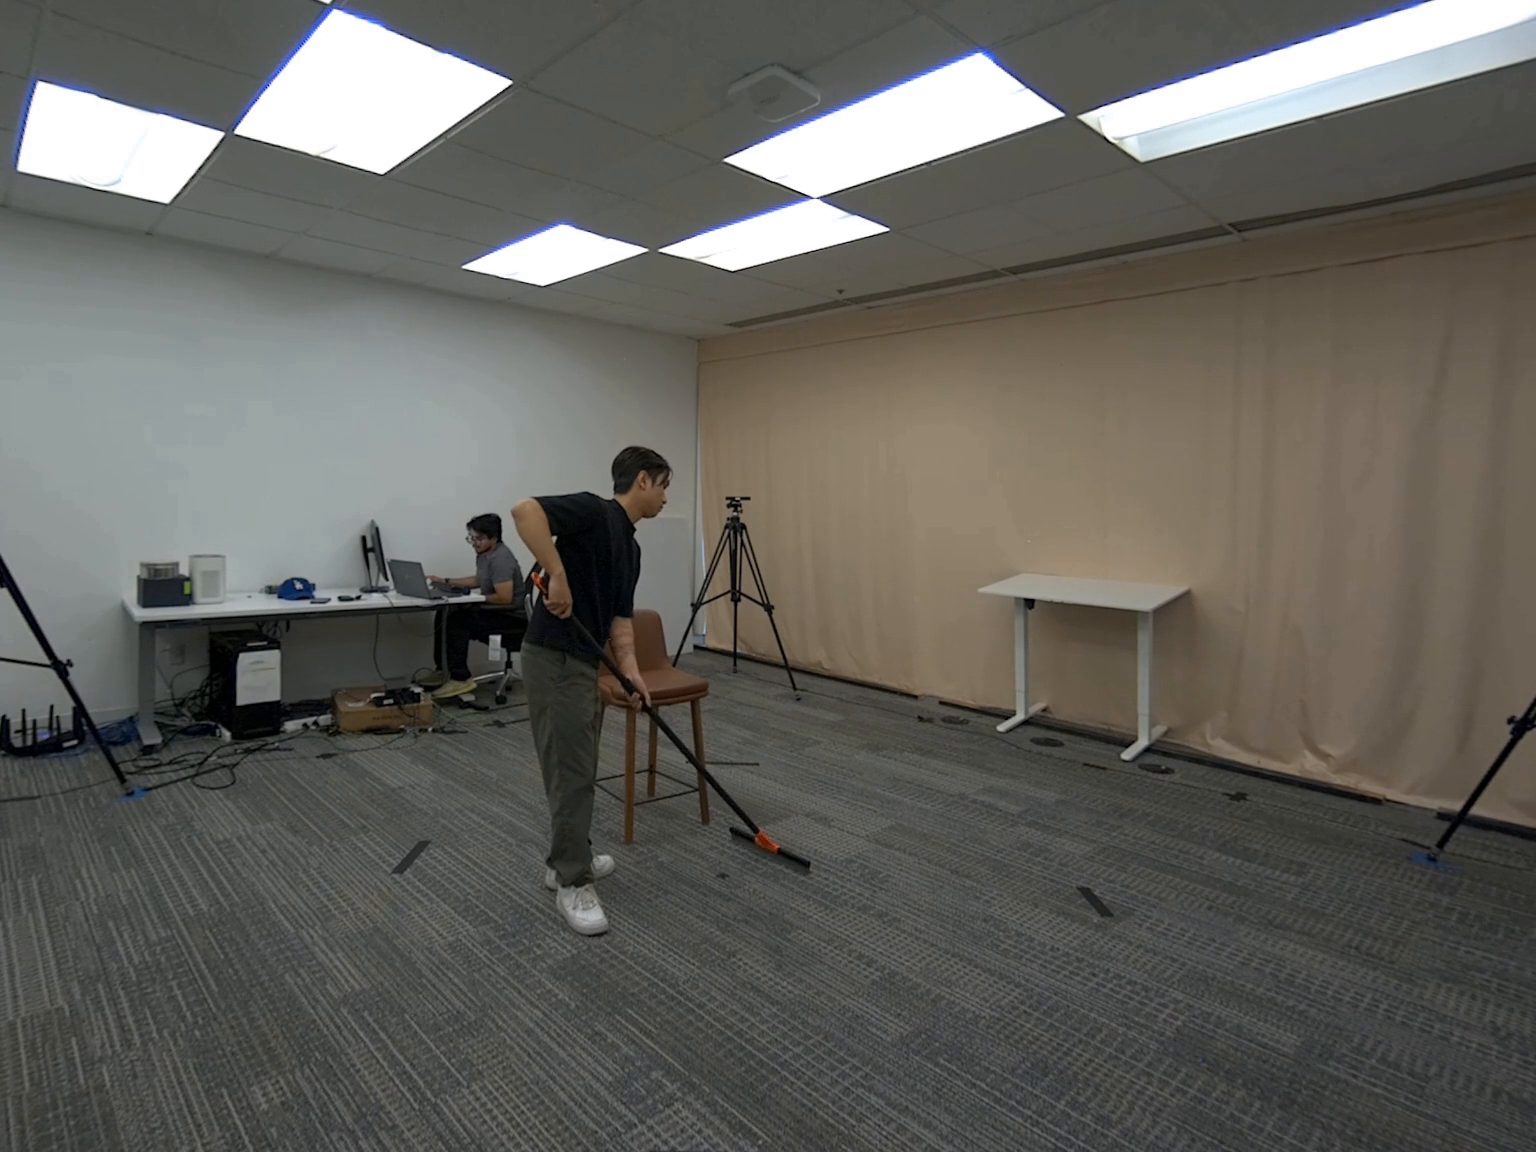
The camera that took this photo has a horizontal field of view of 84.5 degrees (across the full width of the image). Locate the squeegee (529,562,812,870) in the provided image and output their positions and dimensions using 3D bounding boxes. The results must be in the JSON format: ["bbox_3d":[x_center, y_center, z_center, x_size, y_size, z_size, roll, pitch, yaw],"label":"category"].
[{"bbox_3d":[-0.352,0.532,2.909,0.448,1.495,0.053,4,49,45],"label":"squeegee"}]
